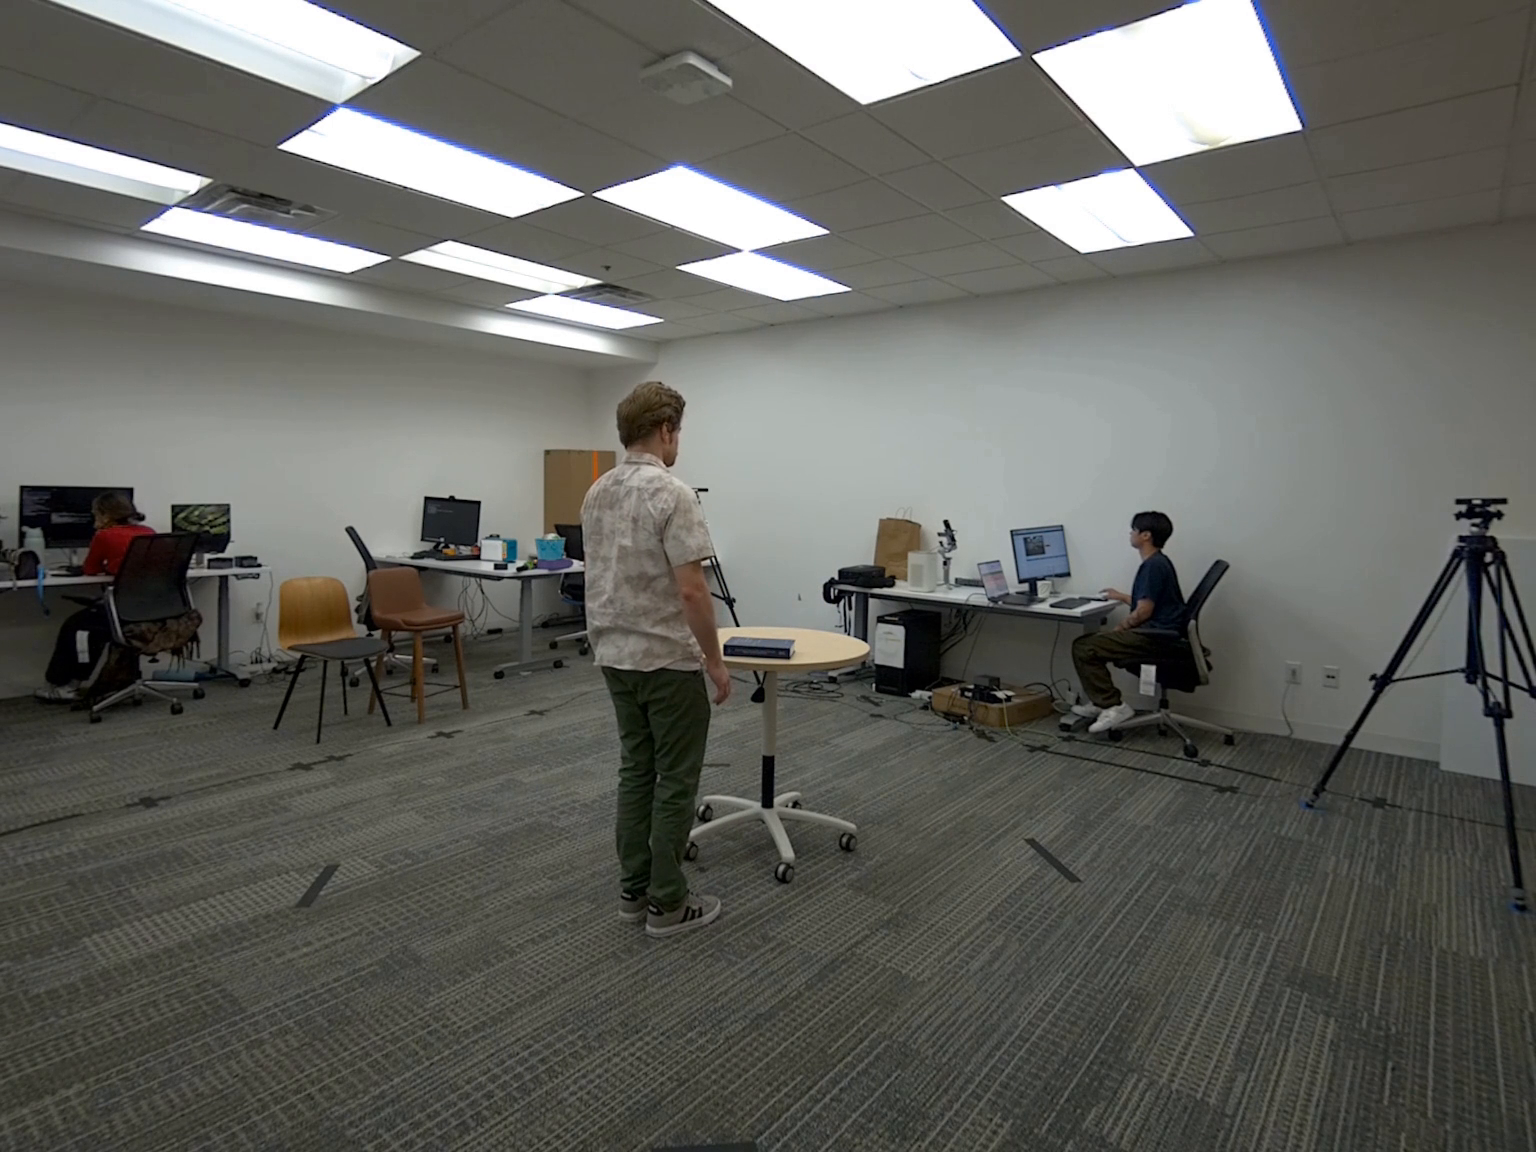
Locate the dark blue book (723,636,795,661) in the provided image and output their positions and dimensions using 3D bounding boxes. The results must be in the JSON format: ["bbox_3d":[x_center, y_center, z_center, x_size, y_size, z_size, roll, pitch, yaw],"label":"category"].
[{"bbox_3d":[-0.039,0.263,3.126,0.248,0.045,0.162,2,6,10],"label":"dark blue book"}]
